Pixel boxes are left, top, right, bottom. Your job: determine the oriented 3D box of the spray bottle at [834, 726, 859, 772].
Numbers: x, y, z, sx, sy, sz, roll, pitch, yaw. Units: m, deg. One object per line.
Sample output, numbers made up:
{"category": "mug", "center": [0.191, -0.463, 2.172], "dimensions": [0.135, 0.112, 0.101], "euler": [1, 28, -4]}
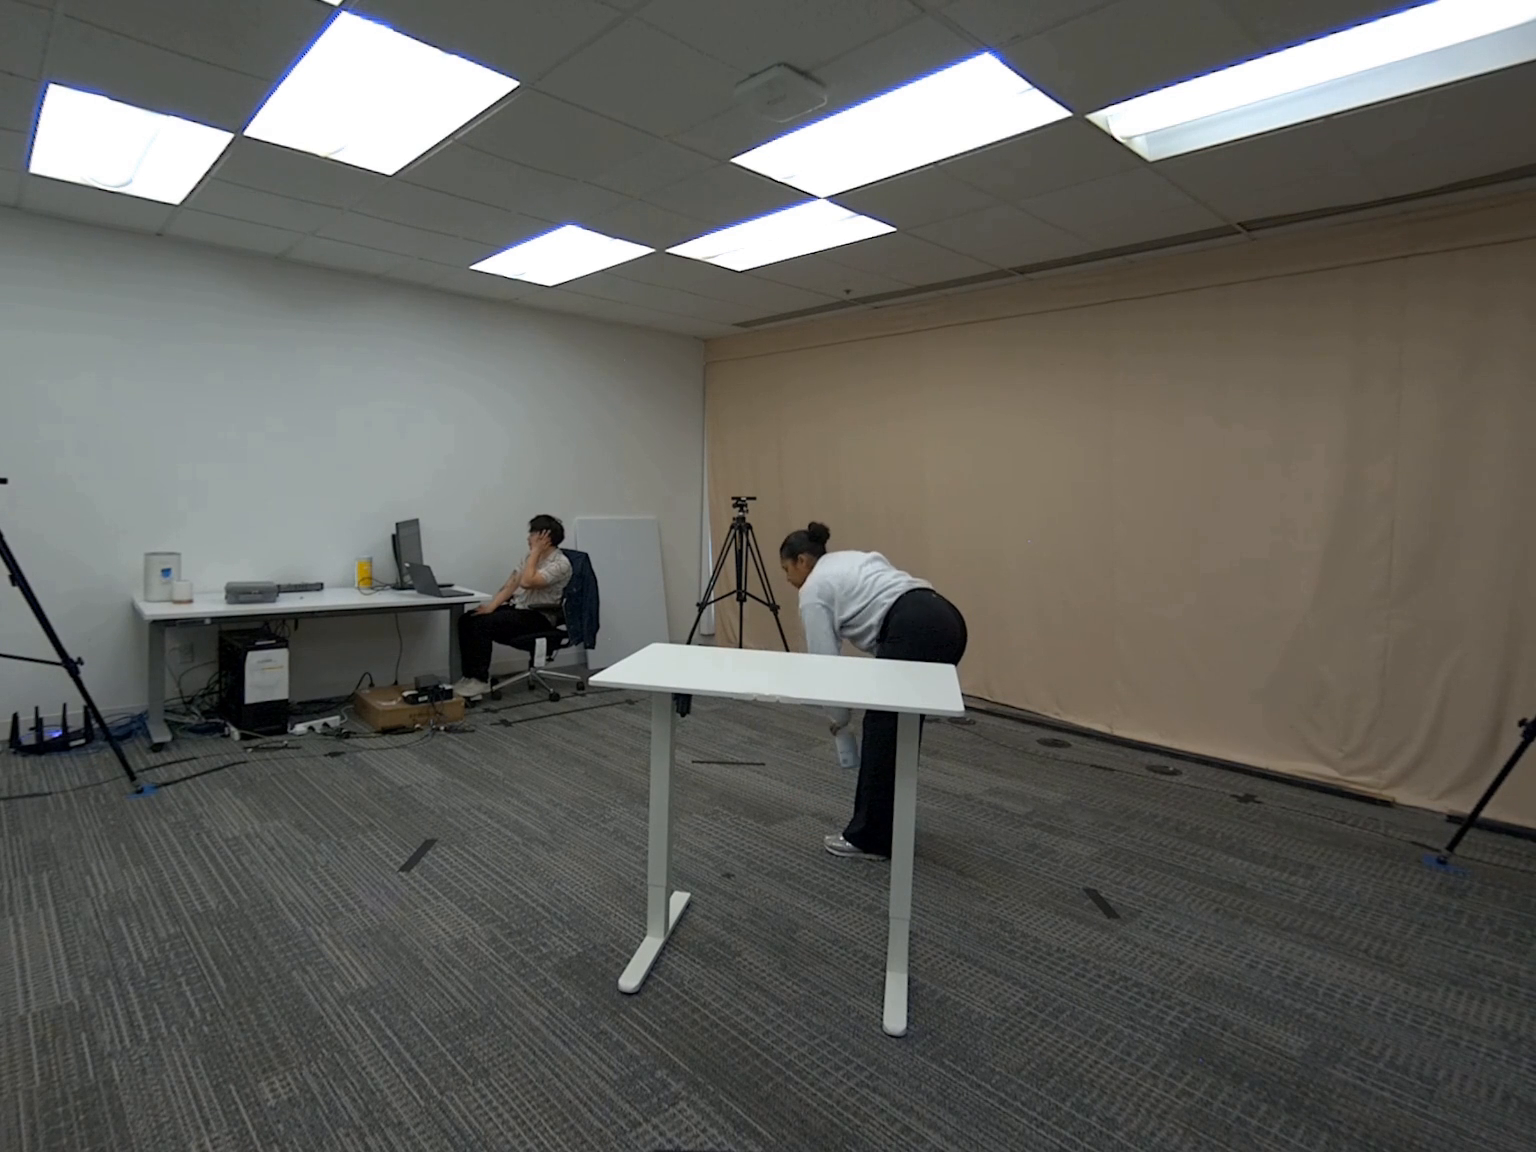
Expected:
{"category": "spray bottle", "center": [0.312, 0.647, 3.489], "dimensions": [0.087, 0.298, 0.089], "euler": [-11, -2, 5]}
